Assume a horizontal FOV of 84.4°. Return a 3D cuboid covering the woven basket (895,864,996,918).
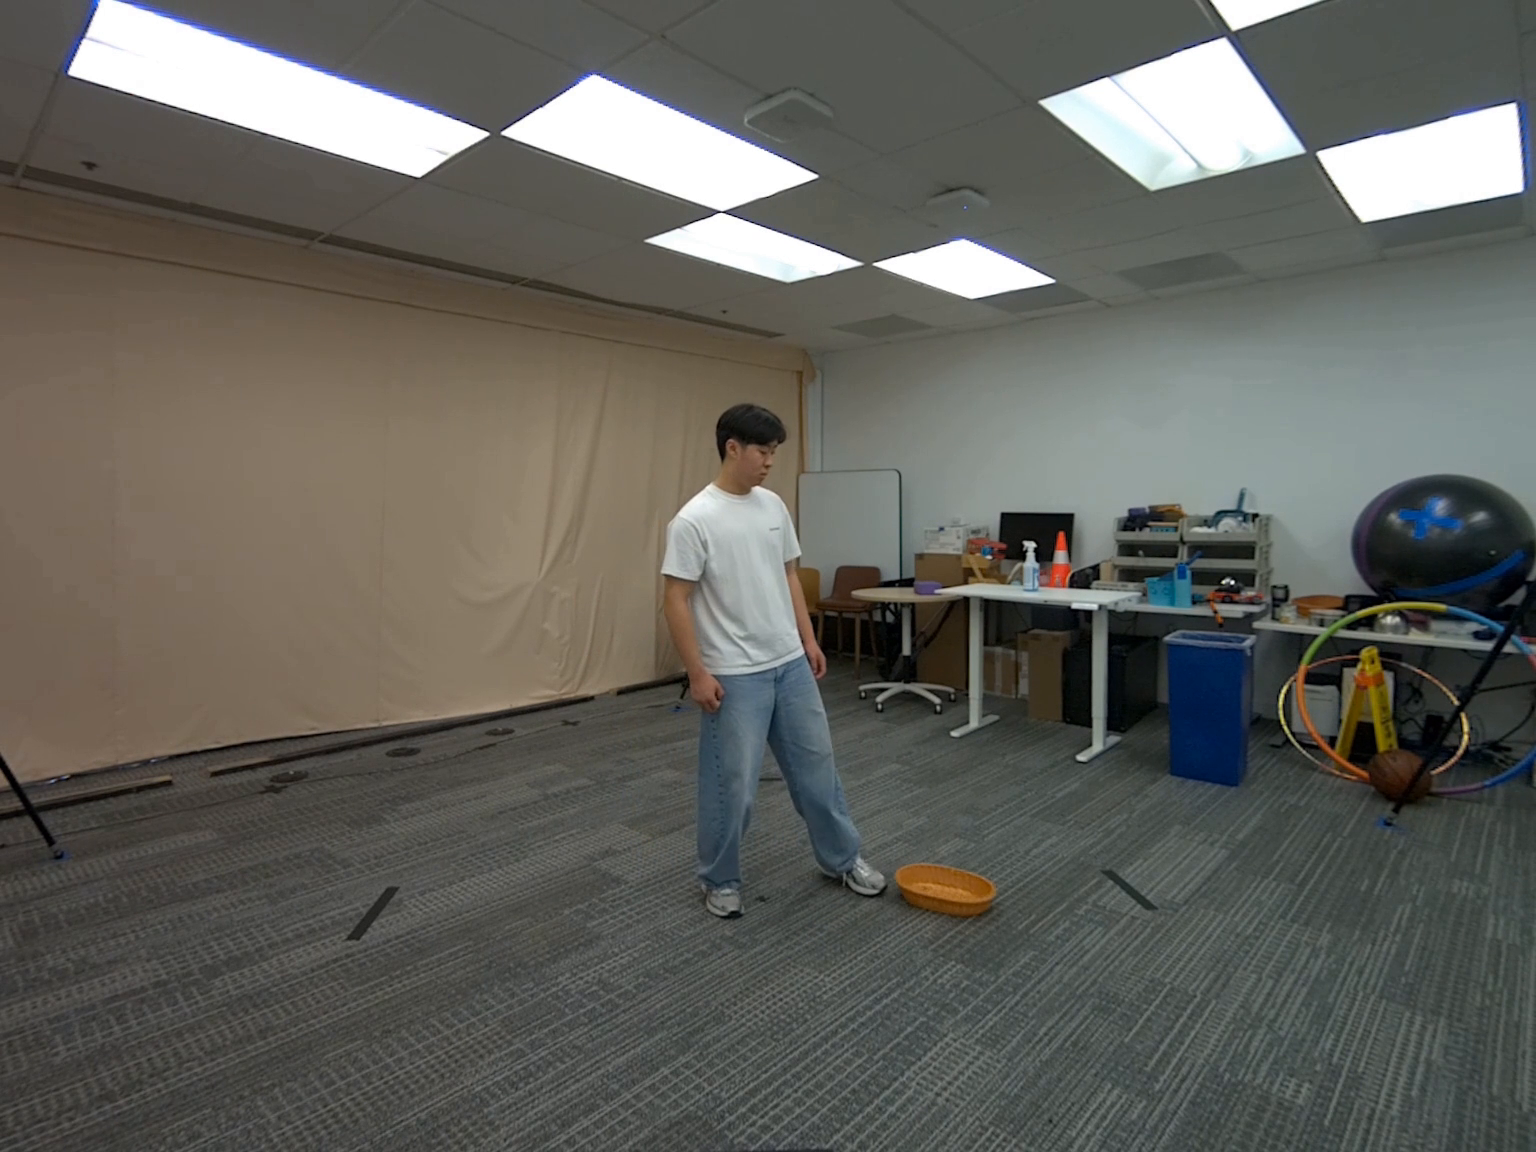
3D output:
[{"bbox_3d":[0.607,1.104,2.935,0.359,0.073,0.247,2,6,24],"label":"woven basket"}]
